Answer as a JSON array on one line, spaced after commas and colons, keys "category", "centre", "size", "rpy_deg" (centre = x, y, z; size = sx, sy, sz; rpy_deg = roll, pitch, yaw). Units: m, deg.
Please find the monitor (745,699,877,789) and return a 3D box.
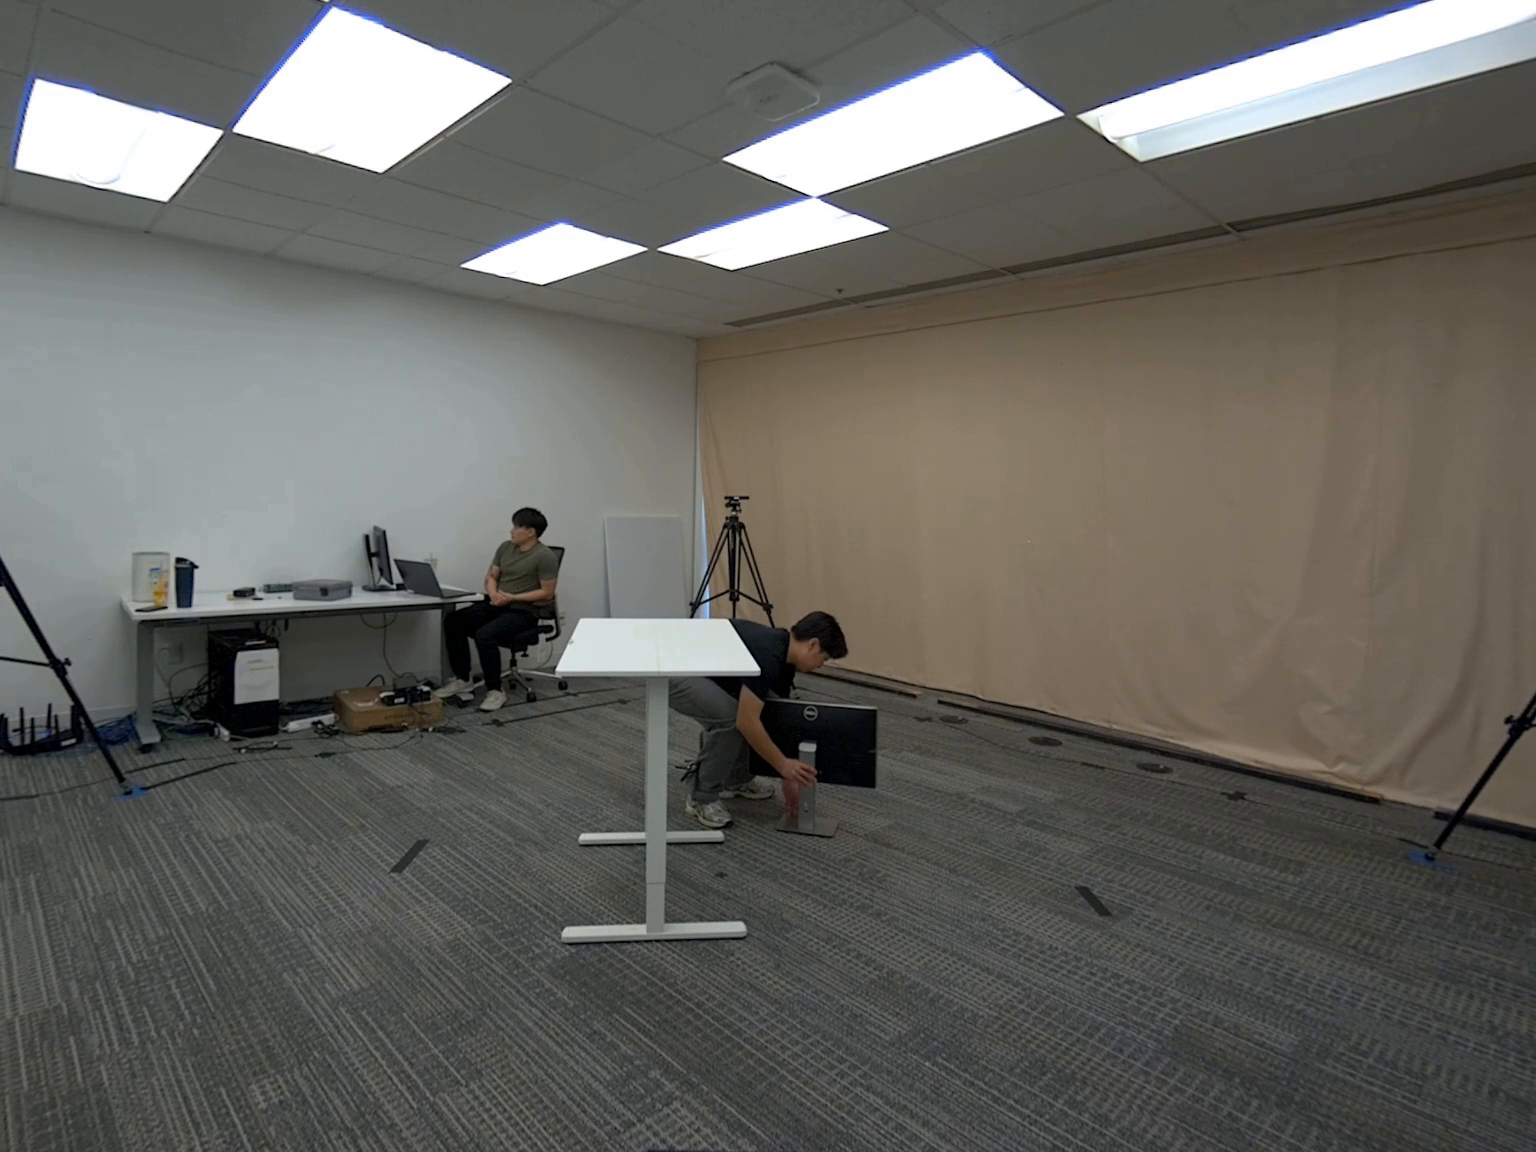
[{"category": "monitor", "centre": [0.167, 0.812, 3.591], "size": [0.570, 0.566, 0.219], "rpy_deg": [4, 0, 17]}]
